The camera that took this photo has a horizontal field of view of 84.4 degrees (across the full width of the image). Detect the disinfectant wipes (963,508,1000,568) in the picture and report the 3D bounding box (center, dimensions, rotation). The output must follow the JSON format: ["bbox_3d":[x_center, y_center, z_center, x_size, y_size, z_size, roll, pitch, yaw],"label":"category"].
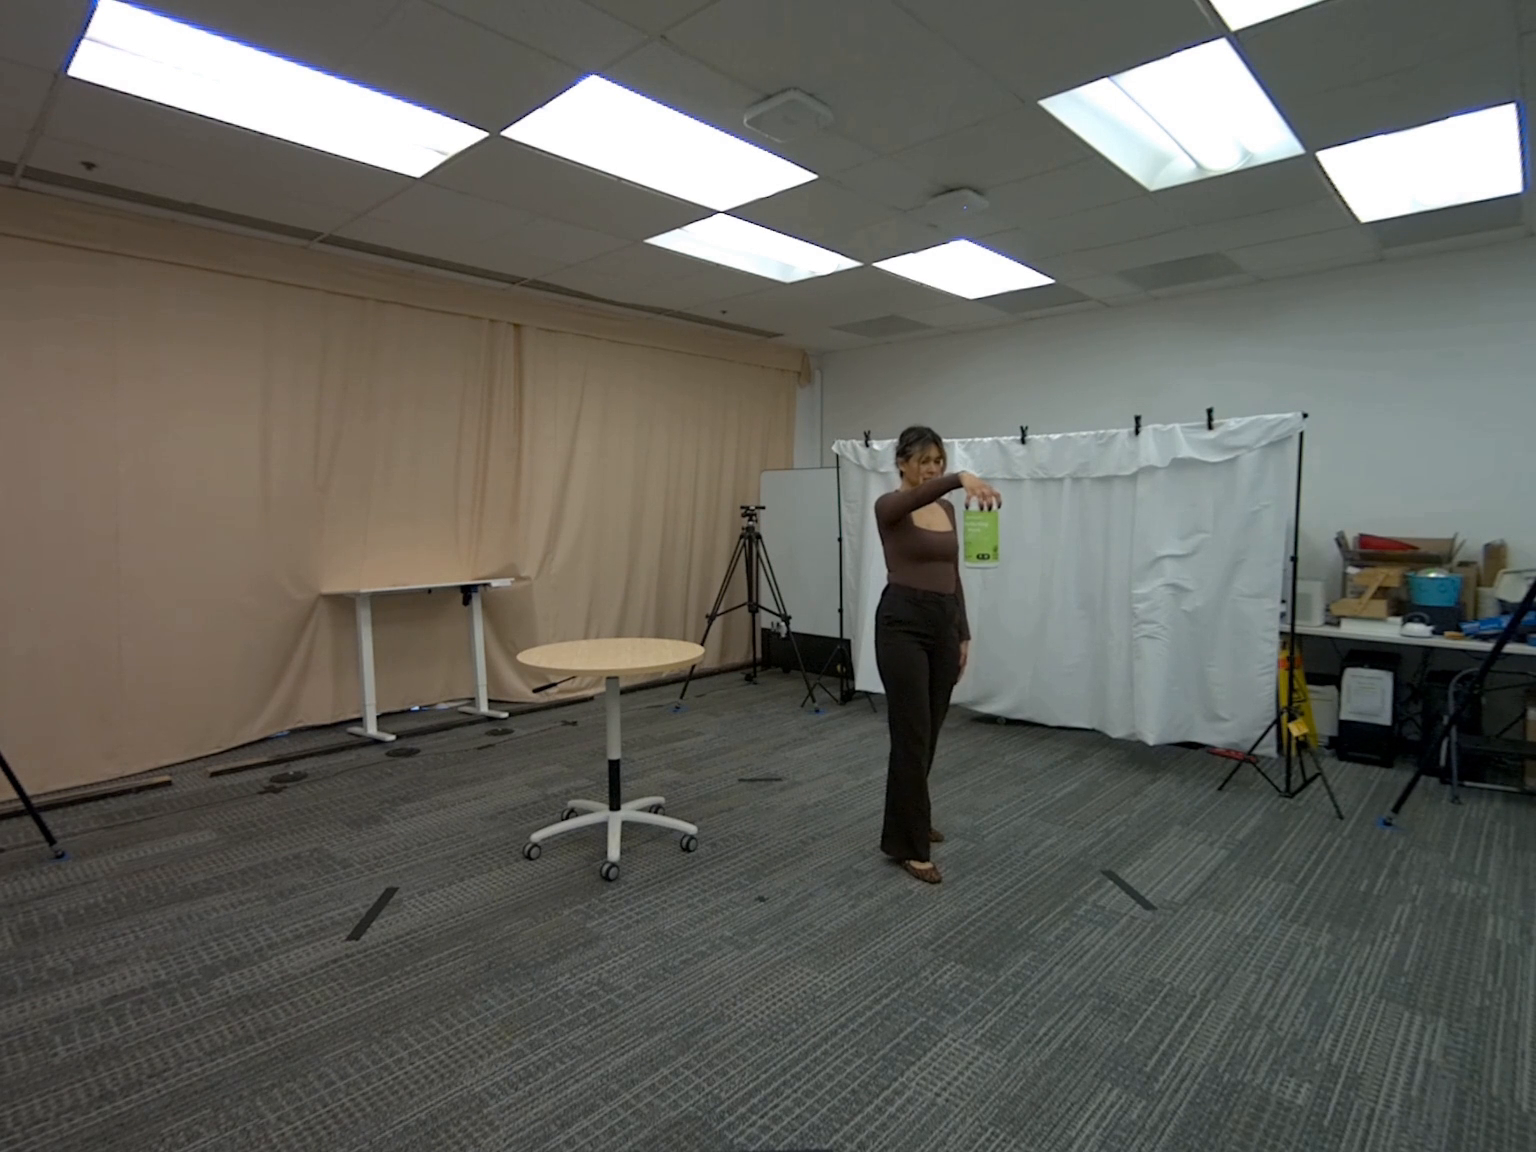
[{"bbox_3d":[0.682,-0.134,2.719,0.118,0.216,0.118,-3,6,-2],"label":"disinfectant wipes"}]
